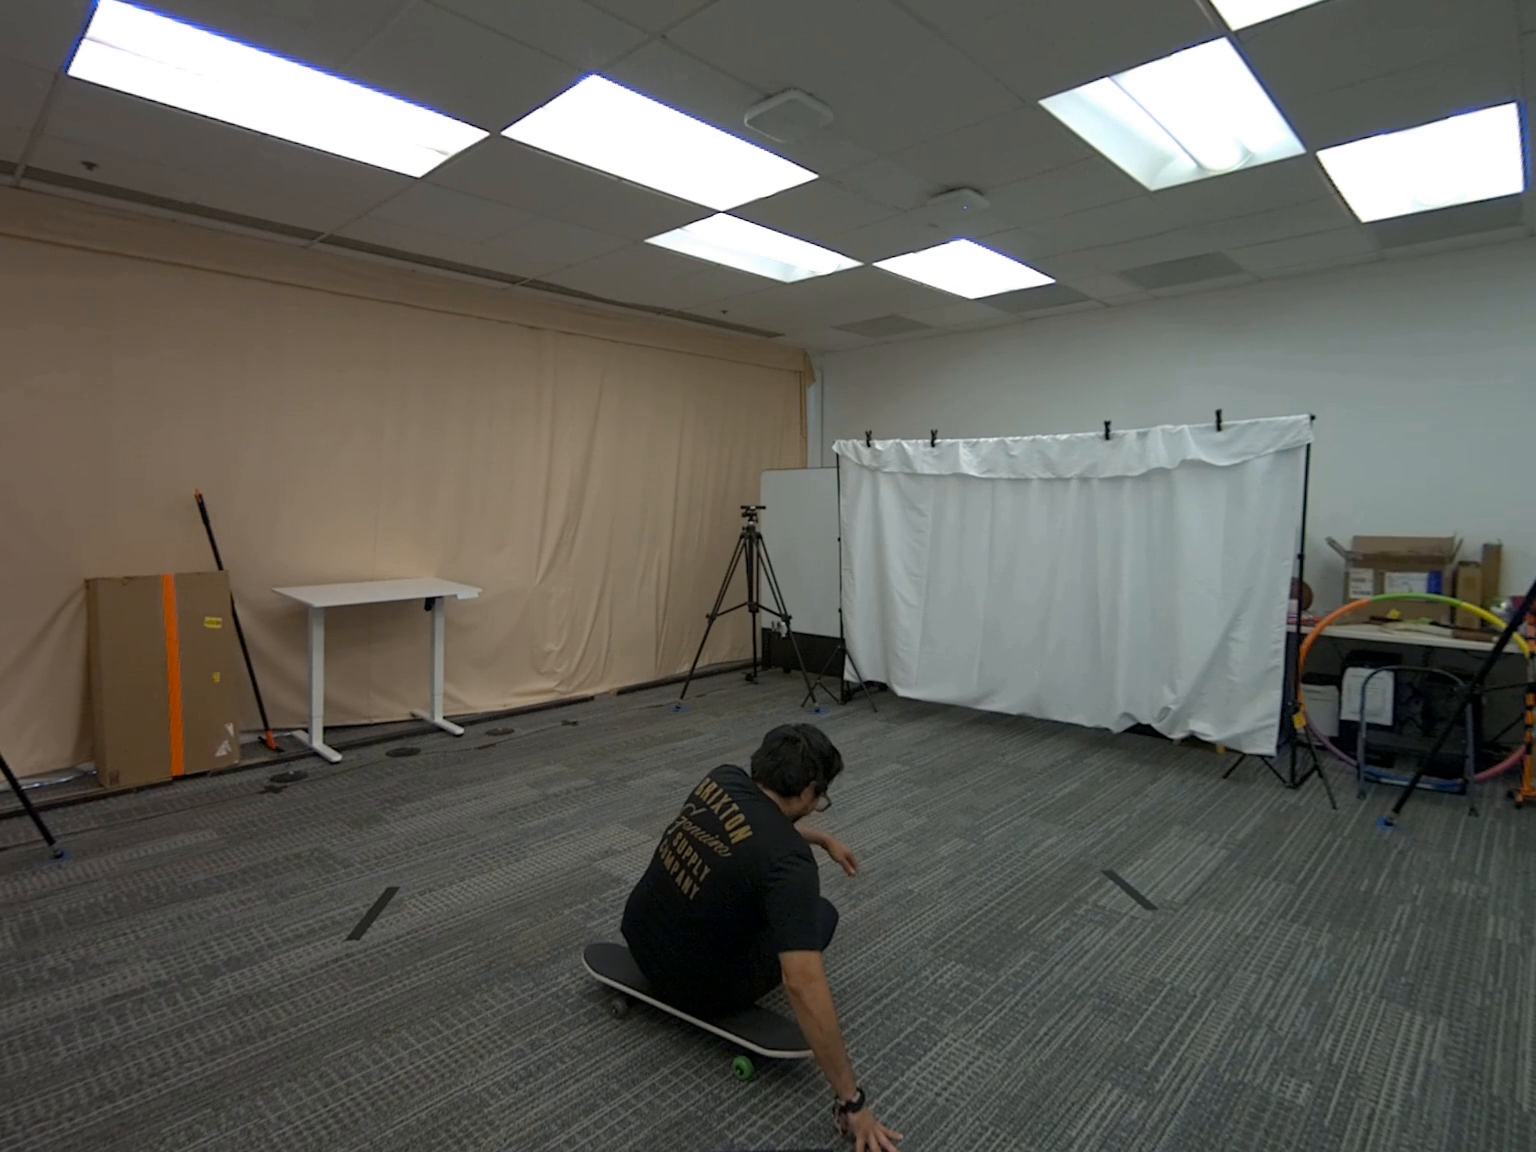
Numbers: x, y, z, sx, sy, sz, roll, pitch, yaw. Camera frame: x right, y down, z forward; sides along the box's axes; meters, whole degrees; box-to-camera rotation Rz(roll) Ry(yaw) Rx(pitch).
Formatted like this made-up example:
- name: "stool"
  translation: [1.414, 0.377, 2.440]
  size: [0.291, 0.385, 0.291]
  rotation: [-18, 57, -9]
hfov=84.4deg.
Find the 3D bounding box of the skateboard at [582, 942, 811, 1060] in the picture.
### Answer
- name: "skateboard"
  translation: [-0.183, 1.145, 2.238]
  size: [0.810, 0.110, 0.187]
  rotation: [3, -4, 35]
